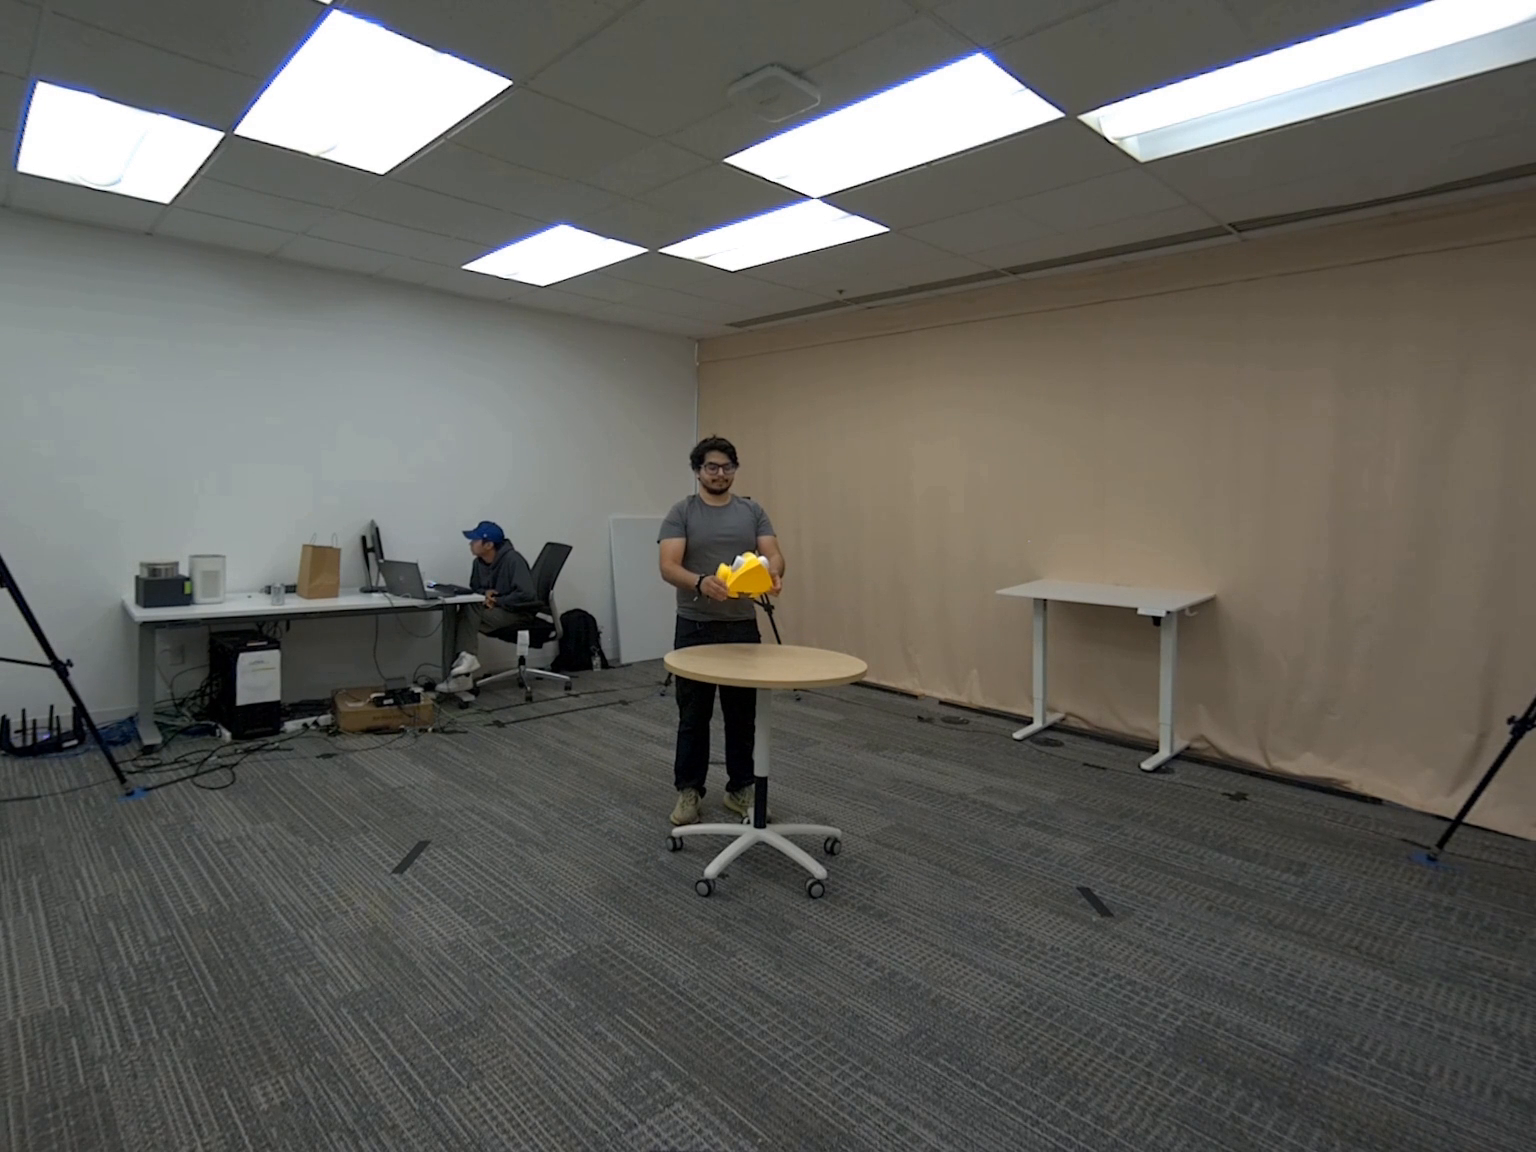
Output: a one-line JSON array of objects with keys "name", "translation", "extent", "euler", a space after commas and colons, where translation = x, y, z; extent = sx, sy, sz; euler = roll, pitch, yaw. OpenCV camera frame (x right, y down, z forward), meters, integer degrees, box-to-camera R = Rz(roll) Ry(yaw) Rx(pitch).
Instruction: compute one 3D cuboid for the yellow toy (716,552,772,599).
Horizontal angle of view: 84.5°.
[{"name": "yellow toy", "translation": [-0.086, -0.035, 3.300], "extent": [0.202, 0.198, 0.228], "euler": [1, -34, -19]}]
